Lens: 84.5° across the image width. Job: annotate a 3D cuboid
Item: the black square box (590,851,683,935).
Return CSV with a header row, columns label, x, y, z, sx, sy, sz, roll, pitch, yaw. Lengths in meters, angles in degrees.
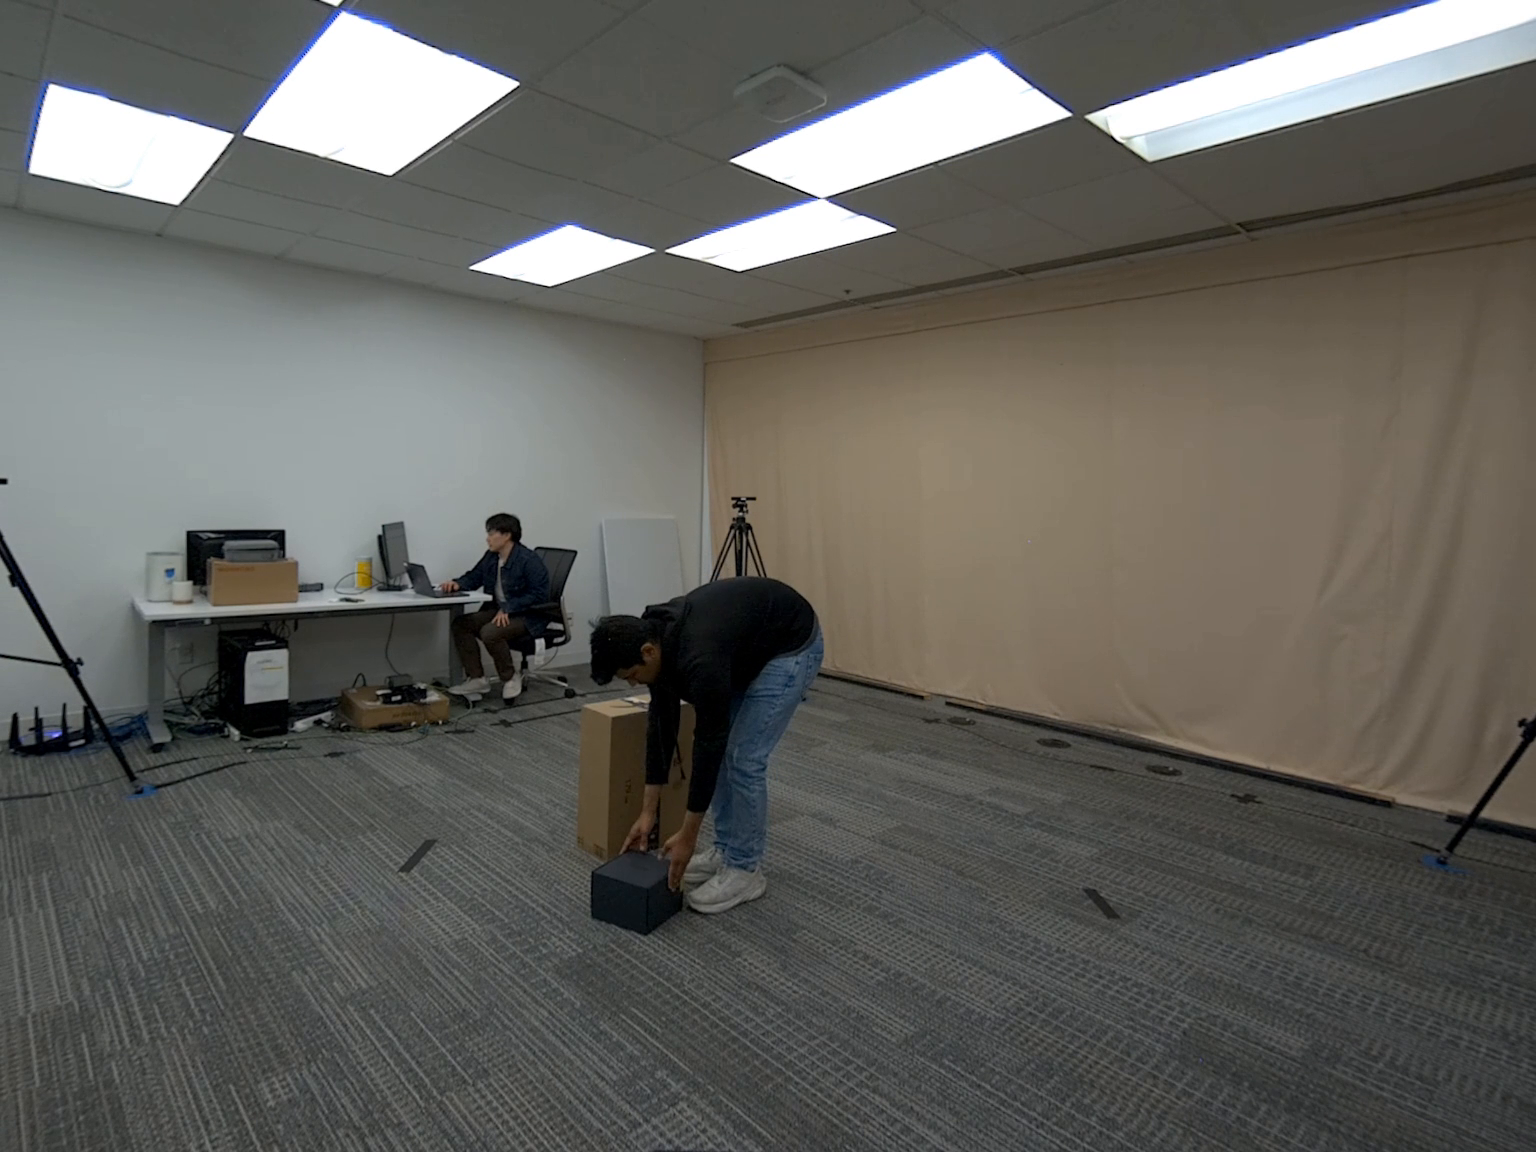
label,x,y,z,sx,sy,sz,roll,pitch,yaw
black square box,-0.444,1.038,2.809,0.233,0.155,0.213,4,5,29
